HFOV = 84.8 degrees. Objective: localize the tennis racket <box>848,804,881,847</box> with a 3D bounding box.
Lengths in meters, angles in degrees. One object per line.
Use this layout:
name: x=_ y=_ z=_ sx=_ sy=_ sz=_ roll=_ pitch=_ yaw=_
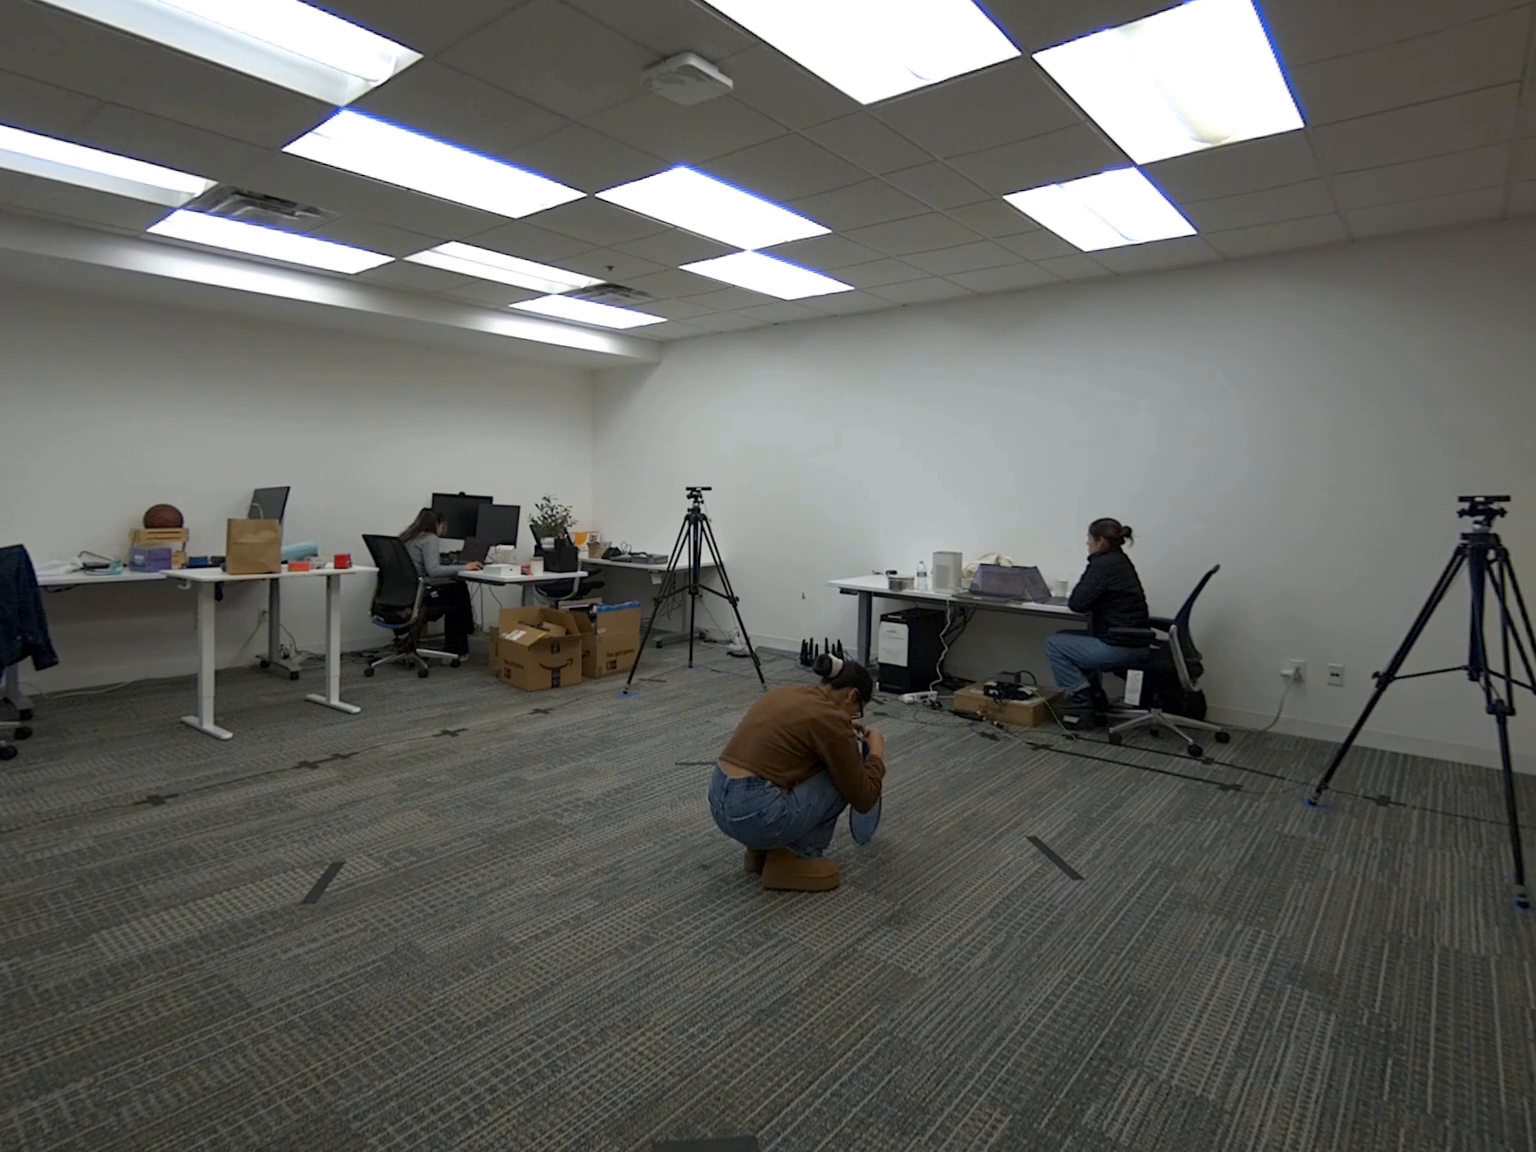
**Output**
tennis racket: x=0.375 y=0.838 z=3.335 sx=0.033 sy=0.429 sz=0.208 roll=7 pitch=11 yaw=42
